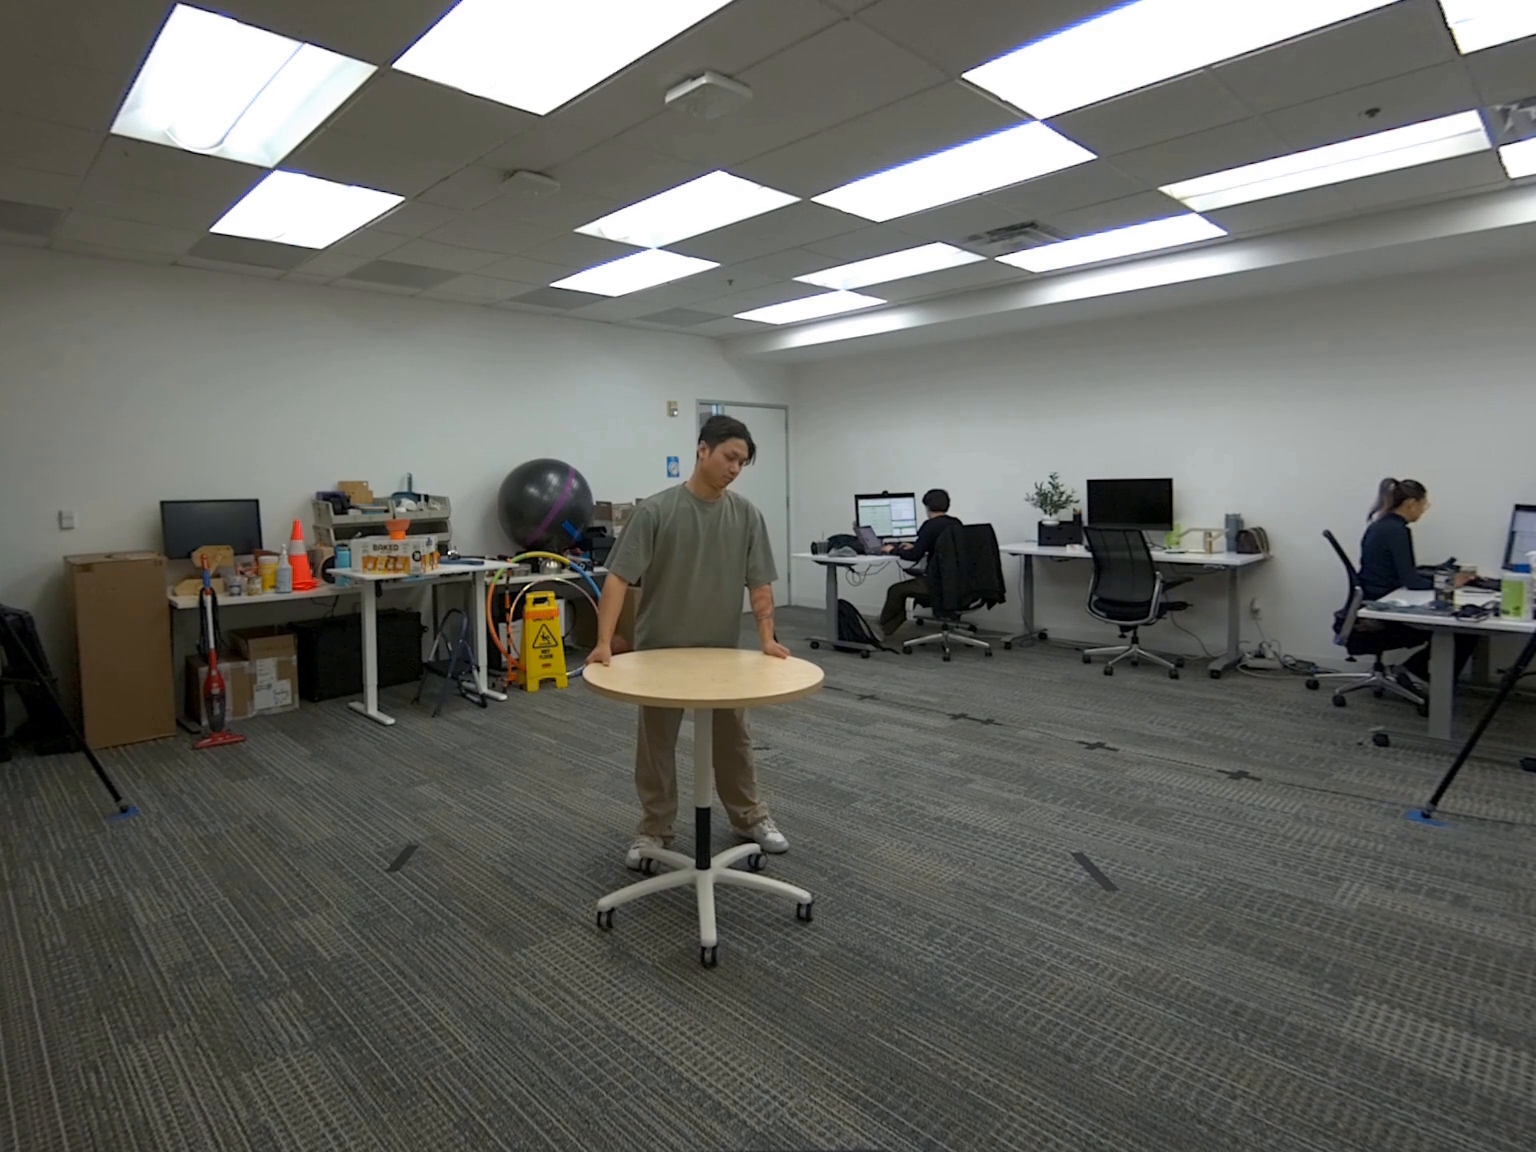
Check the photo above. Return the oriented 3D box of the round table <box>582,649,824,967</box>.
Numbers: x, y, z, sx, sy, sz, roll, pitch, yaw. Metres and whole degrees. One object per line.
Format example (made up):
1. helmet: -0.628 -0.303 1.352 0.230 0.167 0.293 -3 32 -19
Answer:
1. round table: -0.195 0.693 2.745 0.784 0.784 0.789 0 4 -2
